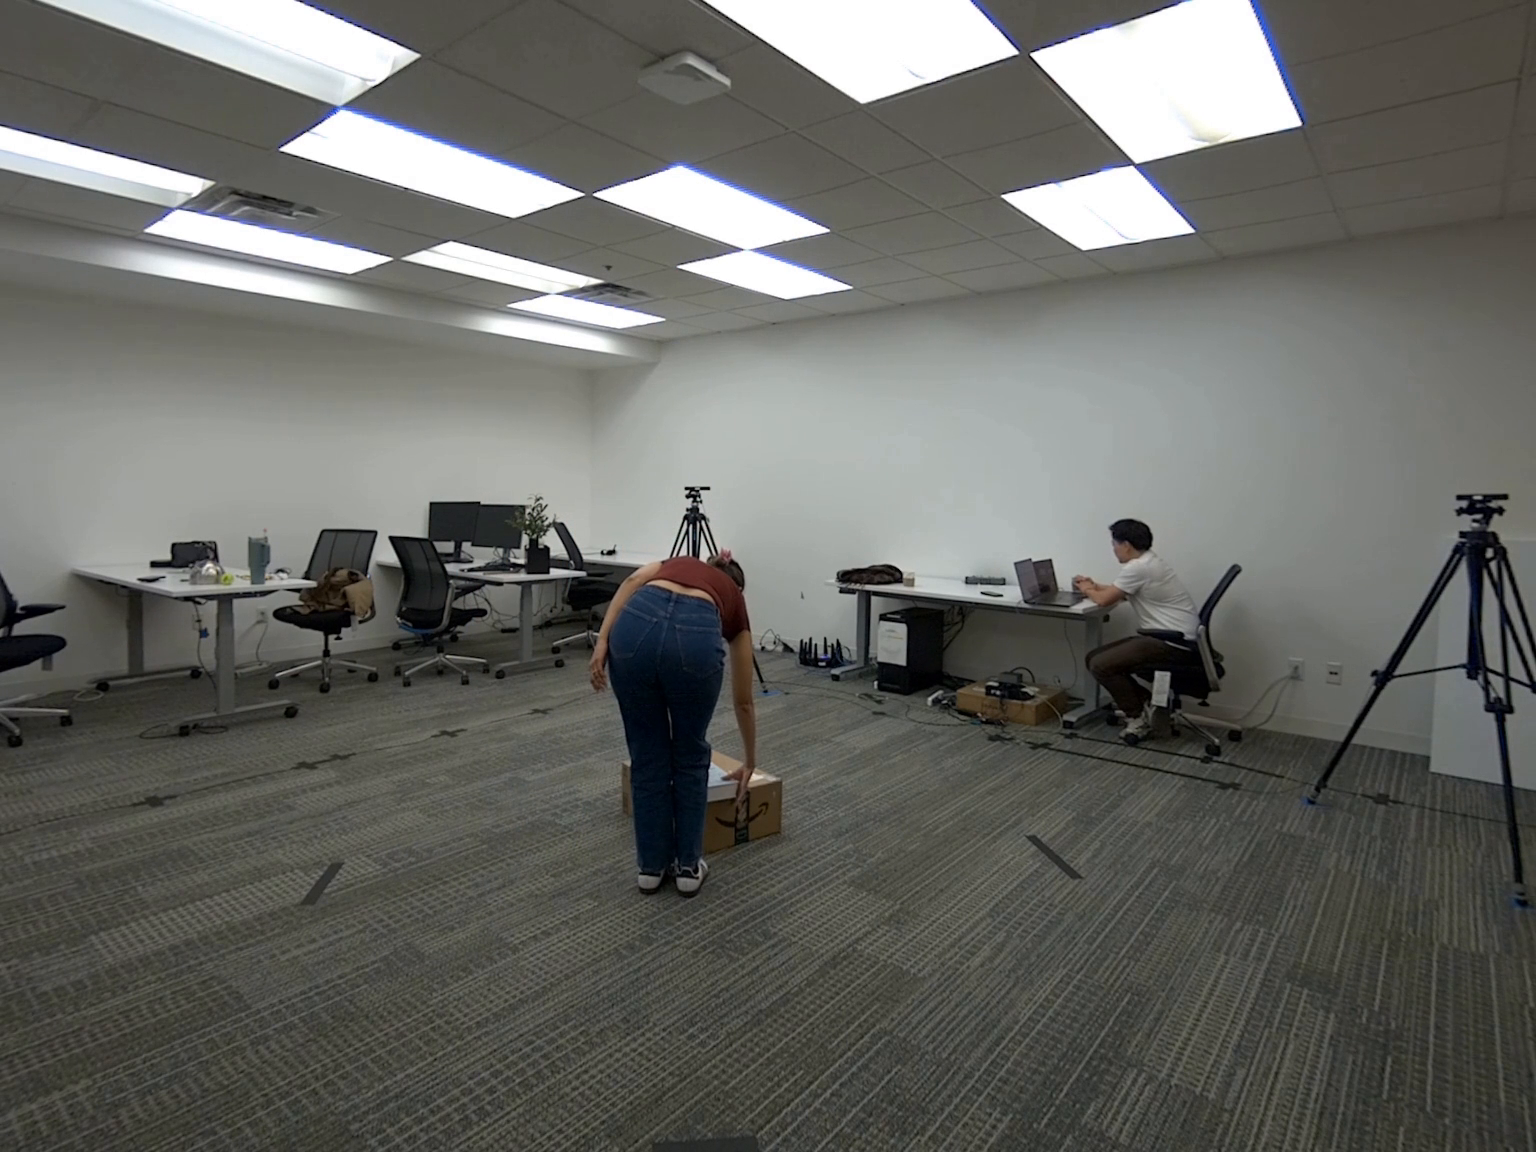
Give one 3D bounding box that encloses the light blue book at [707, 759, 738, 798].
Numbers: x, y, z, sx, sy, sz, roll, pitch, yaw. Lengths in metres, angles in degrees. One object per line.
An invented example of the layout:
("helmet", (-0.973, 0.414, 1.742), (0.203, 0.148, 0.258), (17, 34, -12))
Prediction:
("light blue book", (-0.263, 0.793, 3.308), (0.186, 0.059, 0.269), (-2, 6, -28))
